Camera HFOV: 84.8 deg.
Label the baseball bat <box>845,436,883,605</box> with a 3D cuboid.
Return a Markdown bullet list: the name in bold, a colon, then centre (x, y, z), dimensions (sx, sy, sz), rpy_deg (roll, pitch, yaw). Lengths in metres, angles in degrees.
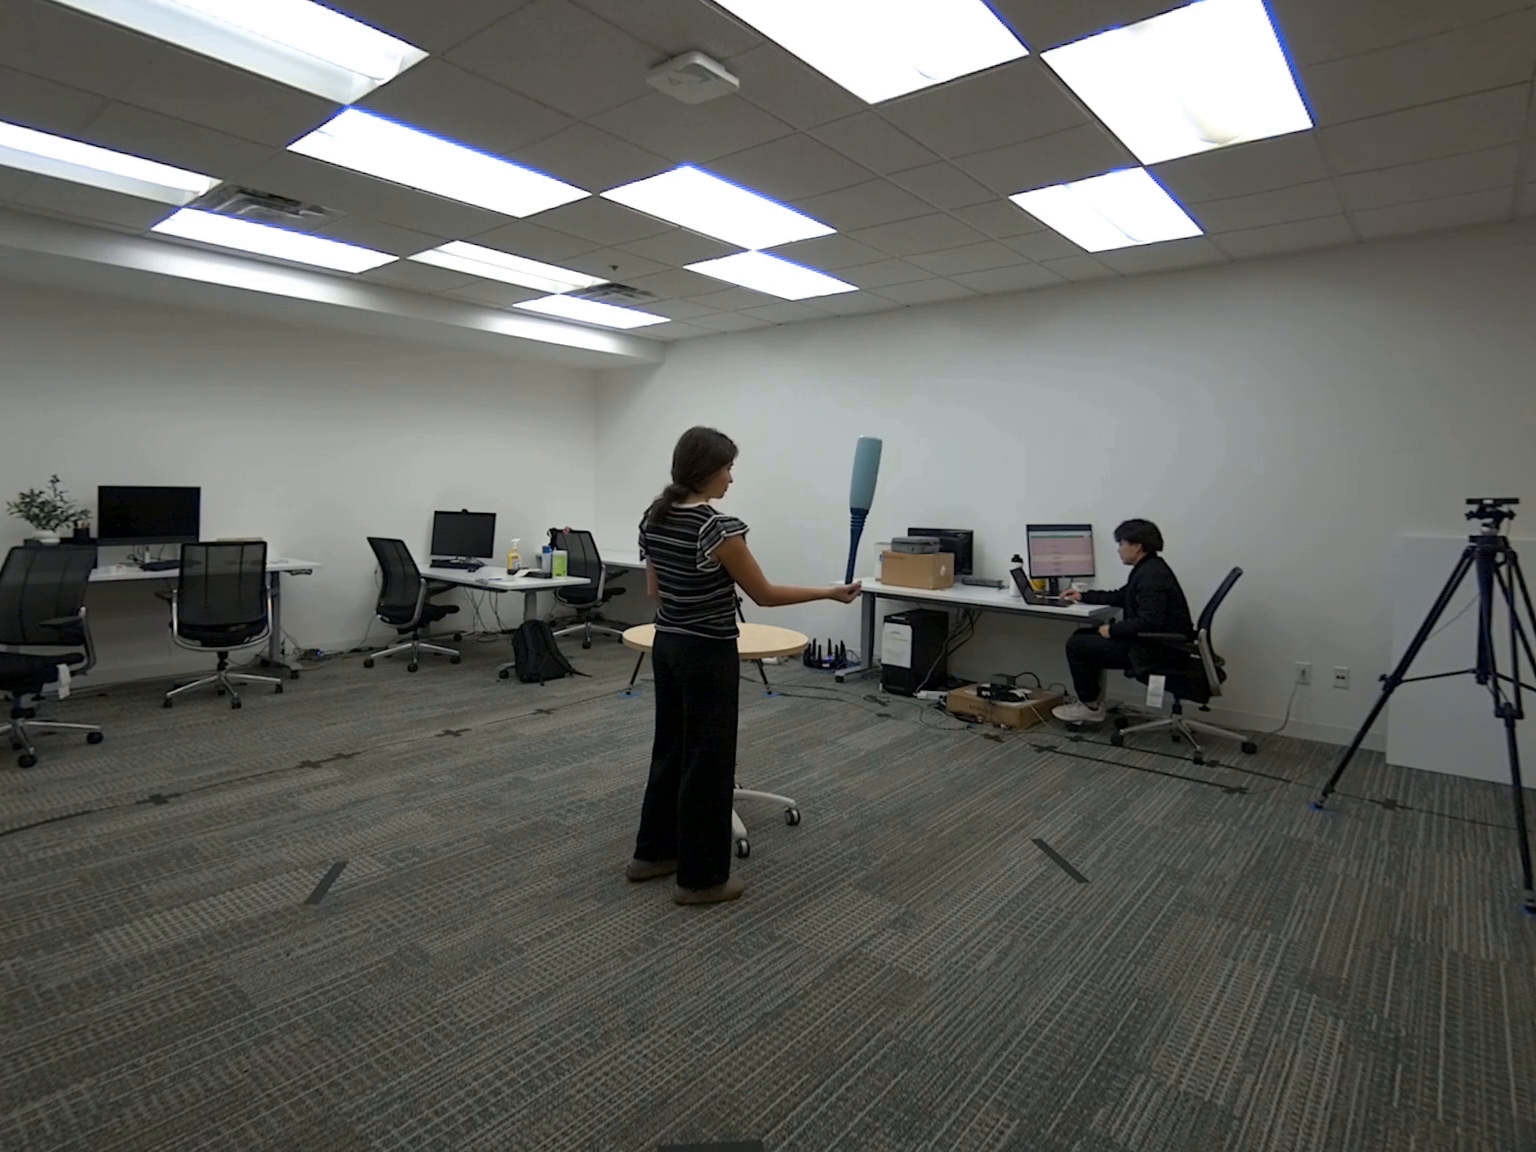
- **baseball bat**: centre (0.304, -0.208, 2.907), dimensions (0.089, 0.542, 0.089), rpy_deg (7, 1, -2)
